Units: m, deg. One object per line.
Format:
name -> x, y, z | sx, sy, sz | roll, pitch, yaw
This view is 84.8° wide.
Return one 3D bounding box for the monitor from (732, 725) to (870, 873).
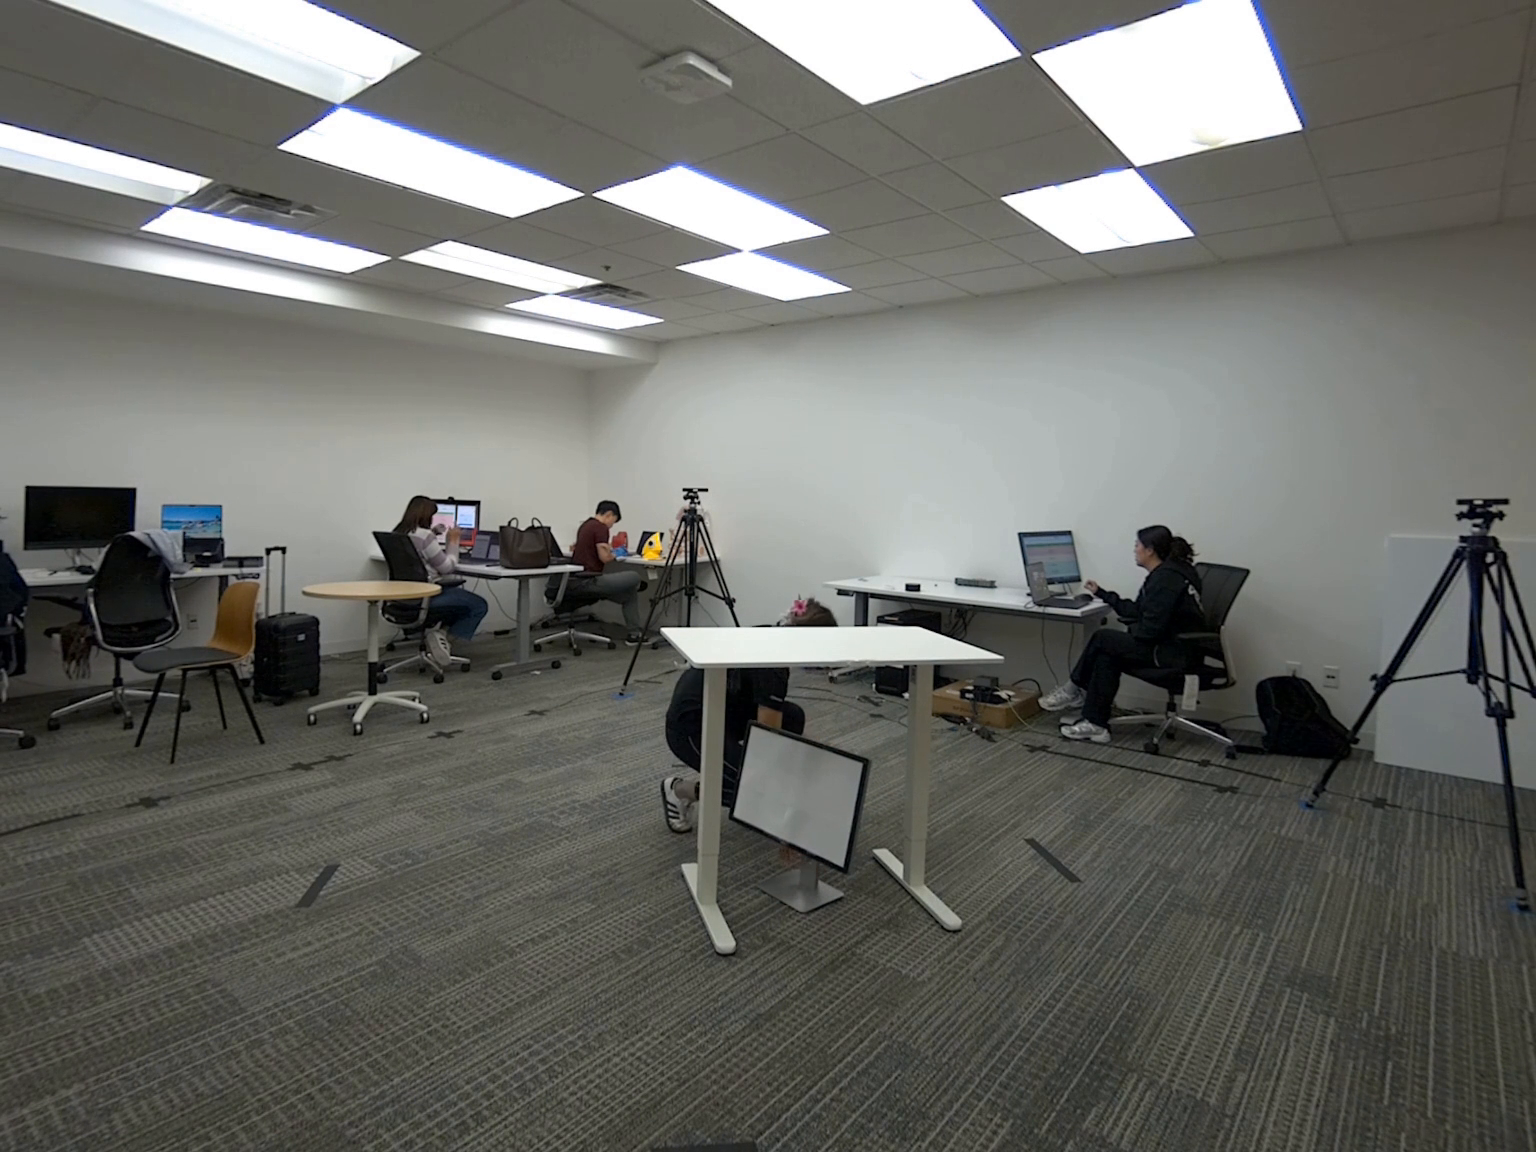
monitor -> 0.111, 0.826, 2.930 | 0.181, 0.521, 0.557 | -3, 5, -44
